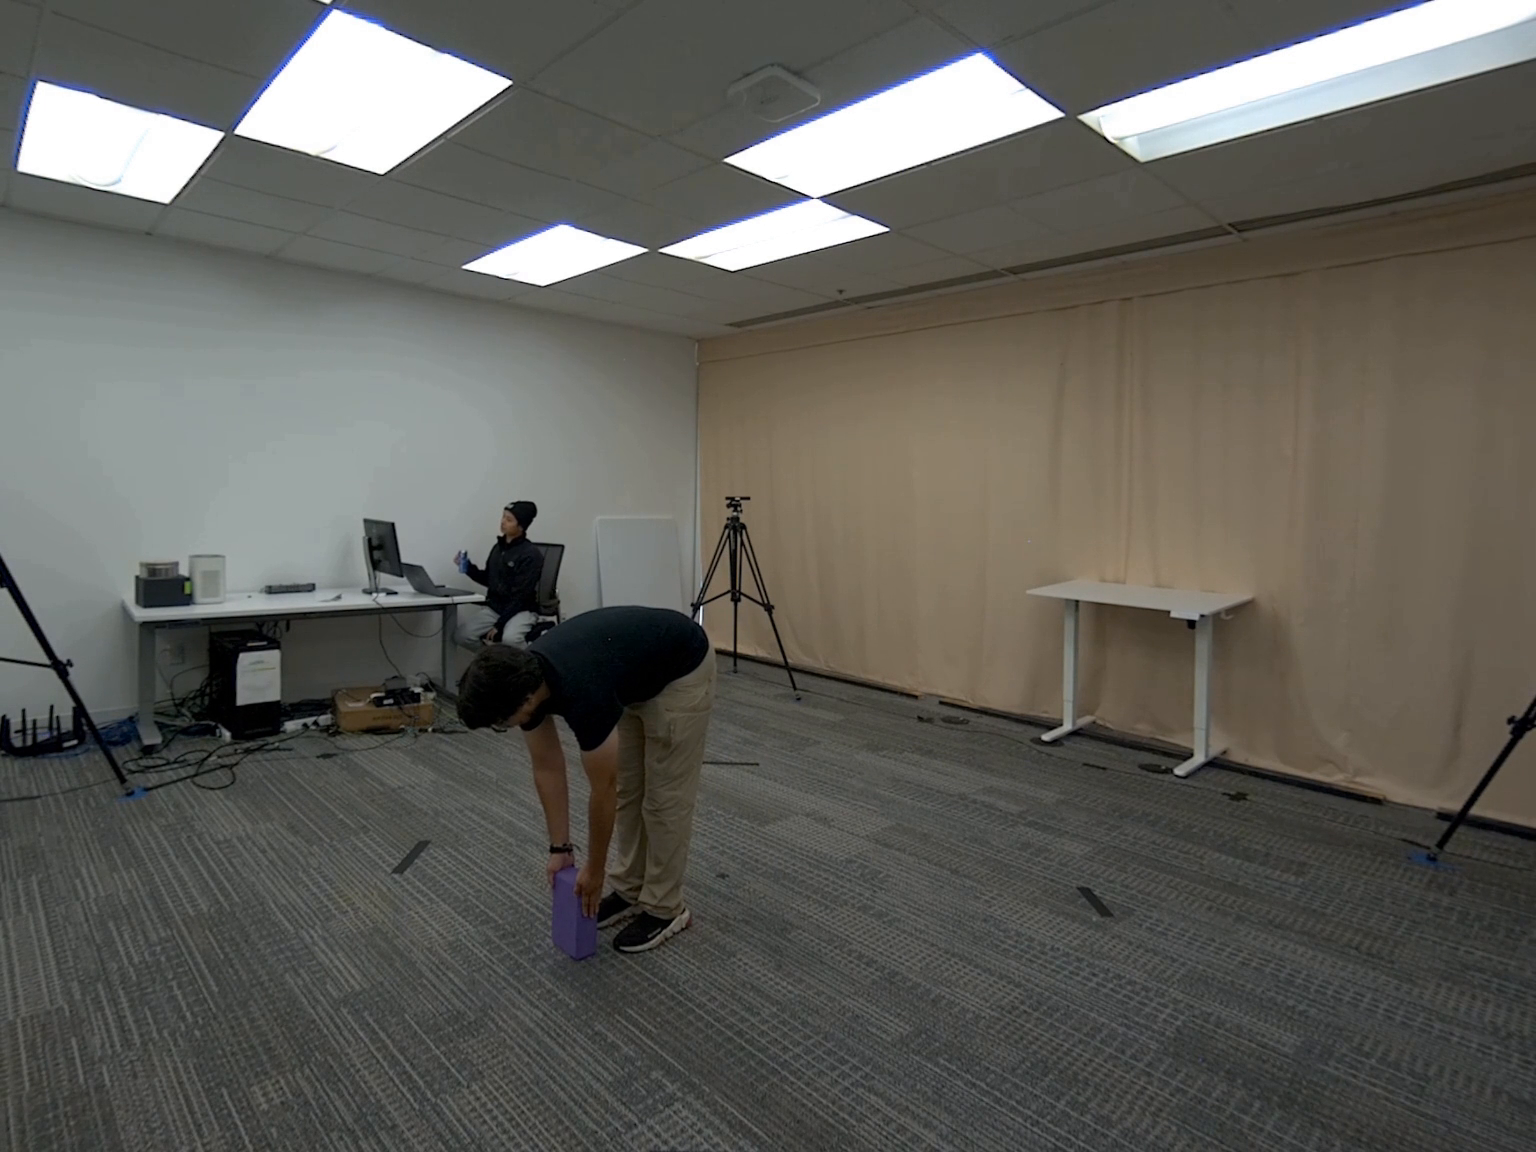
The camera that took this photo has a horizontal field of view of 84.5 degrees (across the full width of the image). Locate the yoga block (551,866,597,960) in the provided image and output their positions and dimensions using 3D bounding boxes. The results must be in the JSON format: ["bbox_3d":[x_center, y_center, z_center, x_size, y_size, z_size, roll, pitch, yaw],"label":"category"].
[{"bbox_3d":[-0.598,1.034,2.573,0.075,0.229,0.153,-3,5,-43],"label":"yoga block"}]
